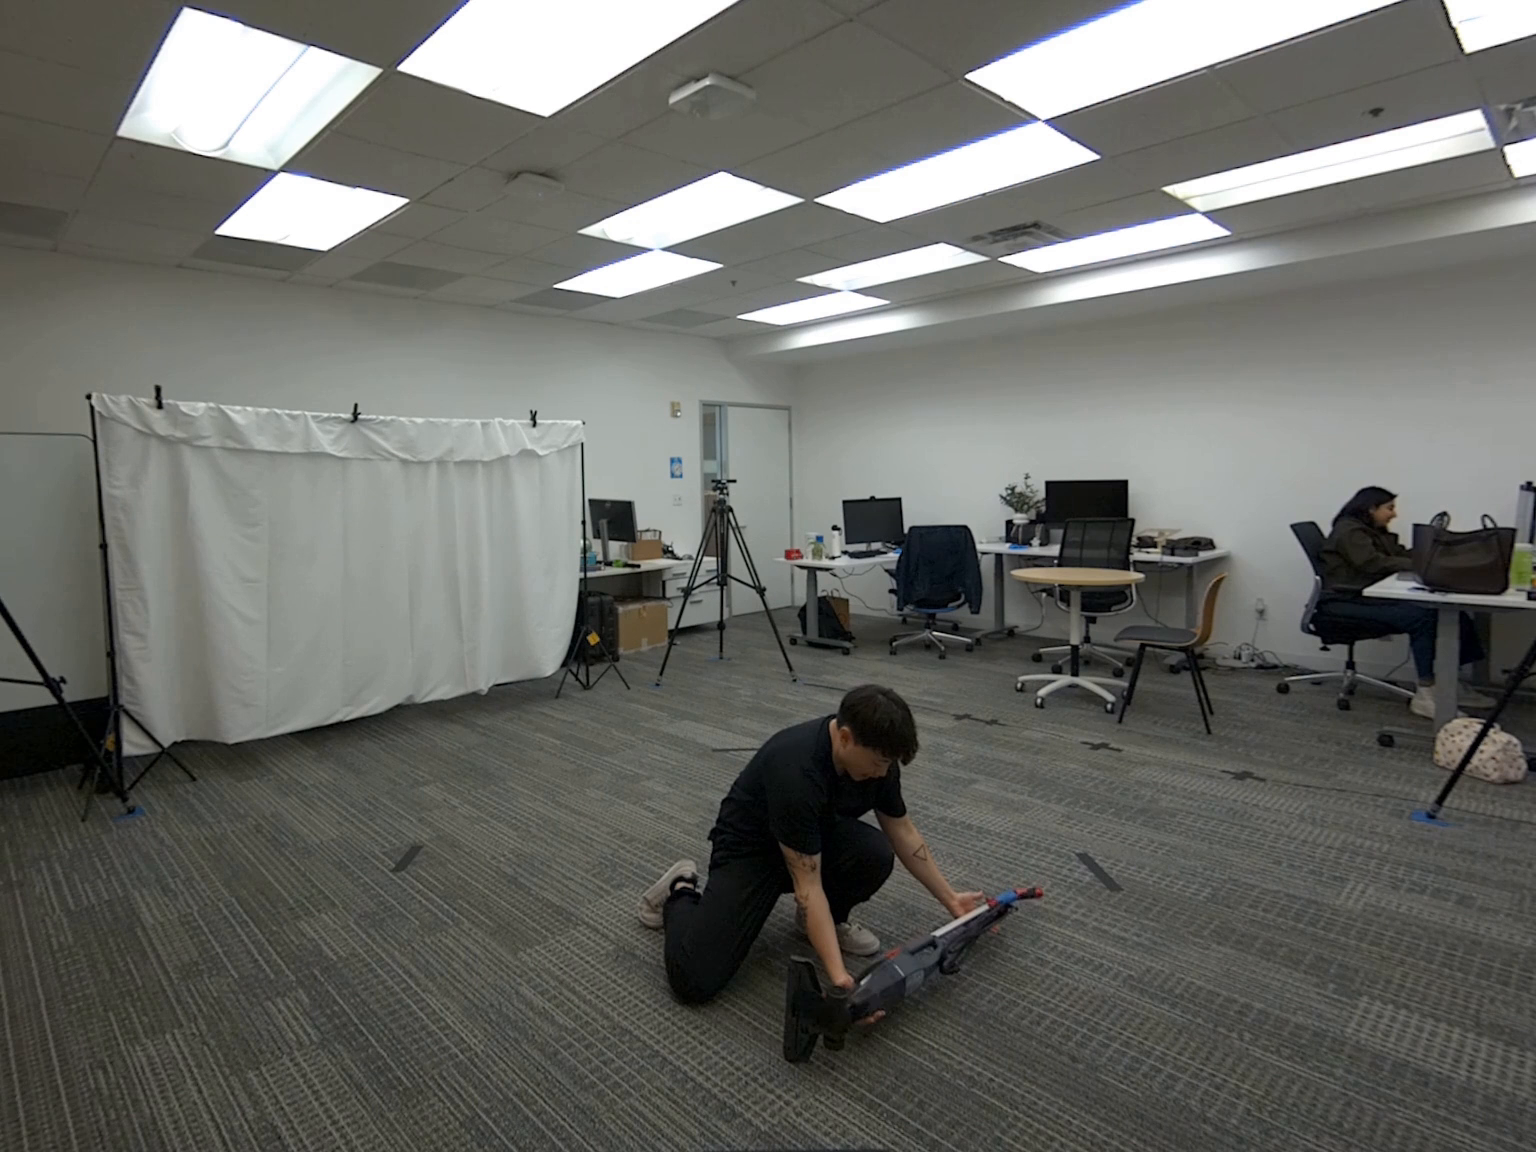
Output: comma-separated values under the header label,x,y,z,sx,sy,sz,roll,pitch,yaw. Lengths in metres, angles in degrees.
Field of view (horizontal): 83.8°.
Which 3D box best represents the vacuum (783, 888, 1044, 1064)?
label,x,y,z,sx,sy,sz,roll,pitch,yaw
vacuum,0.475,1.026,2.371,1.020,0.251,0.149,-3,8,-41
